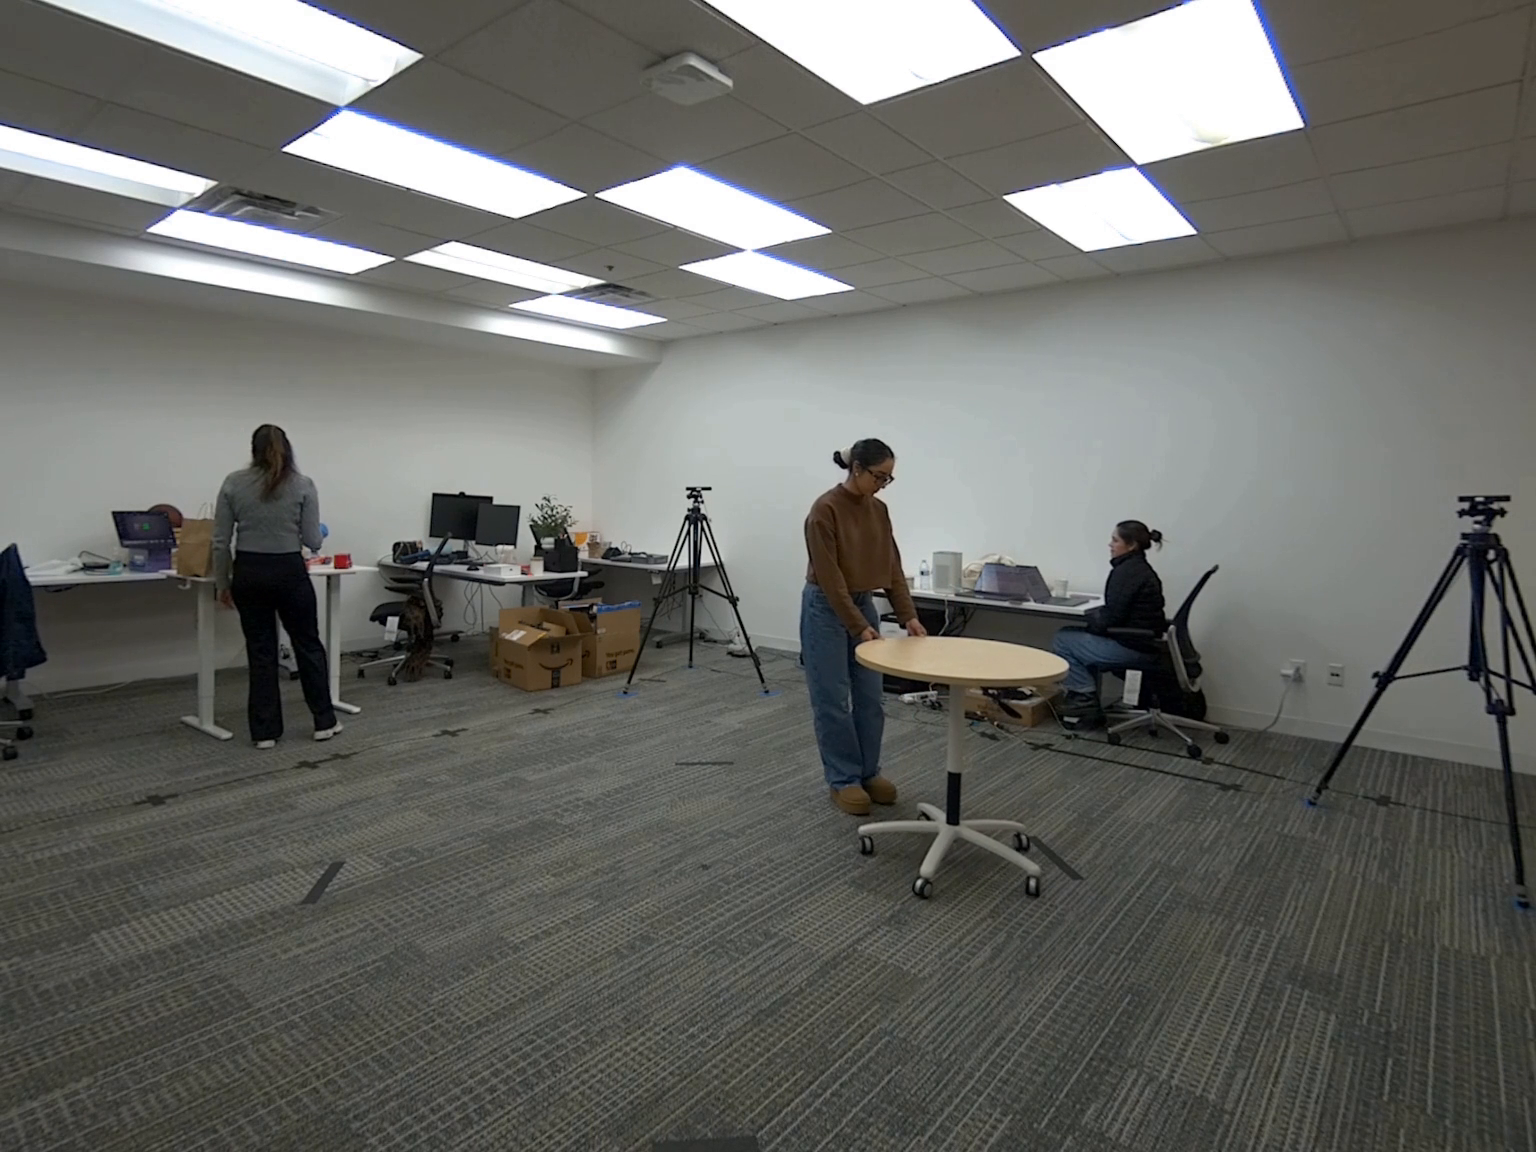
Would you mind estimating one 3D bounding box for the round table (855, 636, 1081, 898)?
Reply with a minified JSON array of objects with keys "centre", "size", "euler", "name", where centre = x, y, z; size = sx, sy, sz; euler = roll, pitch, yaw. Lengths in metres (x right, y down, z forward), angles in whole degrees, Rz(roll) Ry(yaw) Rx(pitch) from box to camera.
[{"centre":[0.696,0.686,3.209],"size":[0.763,0.791,0.768],"euler":[1,5,-2],"name":"round table"}]
